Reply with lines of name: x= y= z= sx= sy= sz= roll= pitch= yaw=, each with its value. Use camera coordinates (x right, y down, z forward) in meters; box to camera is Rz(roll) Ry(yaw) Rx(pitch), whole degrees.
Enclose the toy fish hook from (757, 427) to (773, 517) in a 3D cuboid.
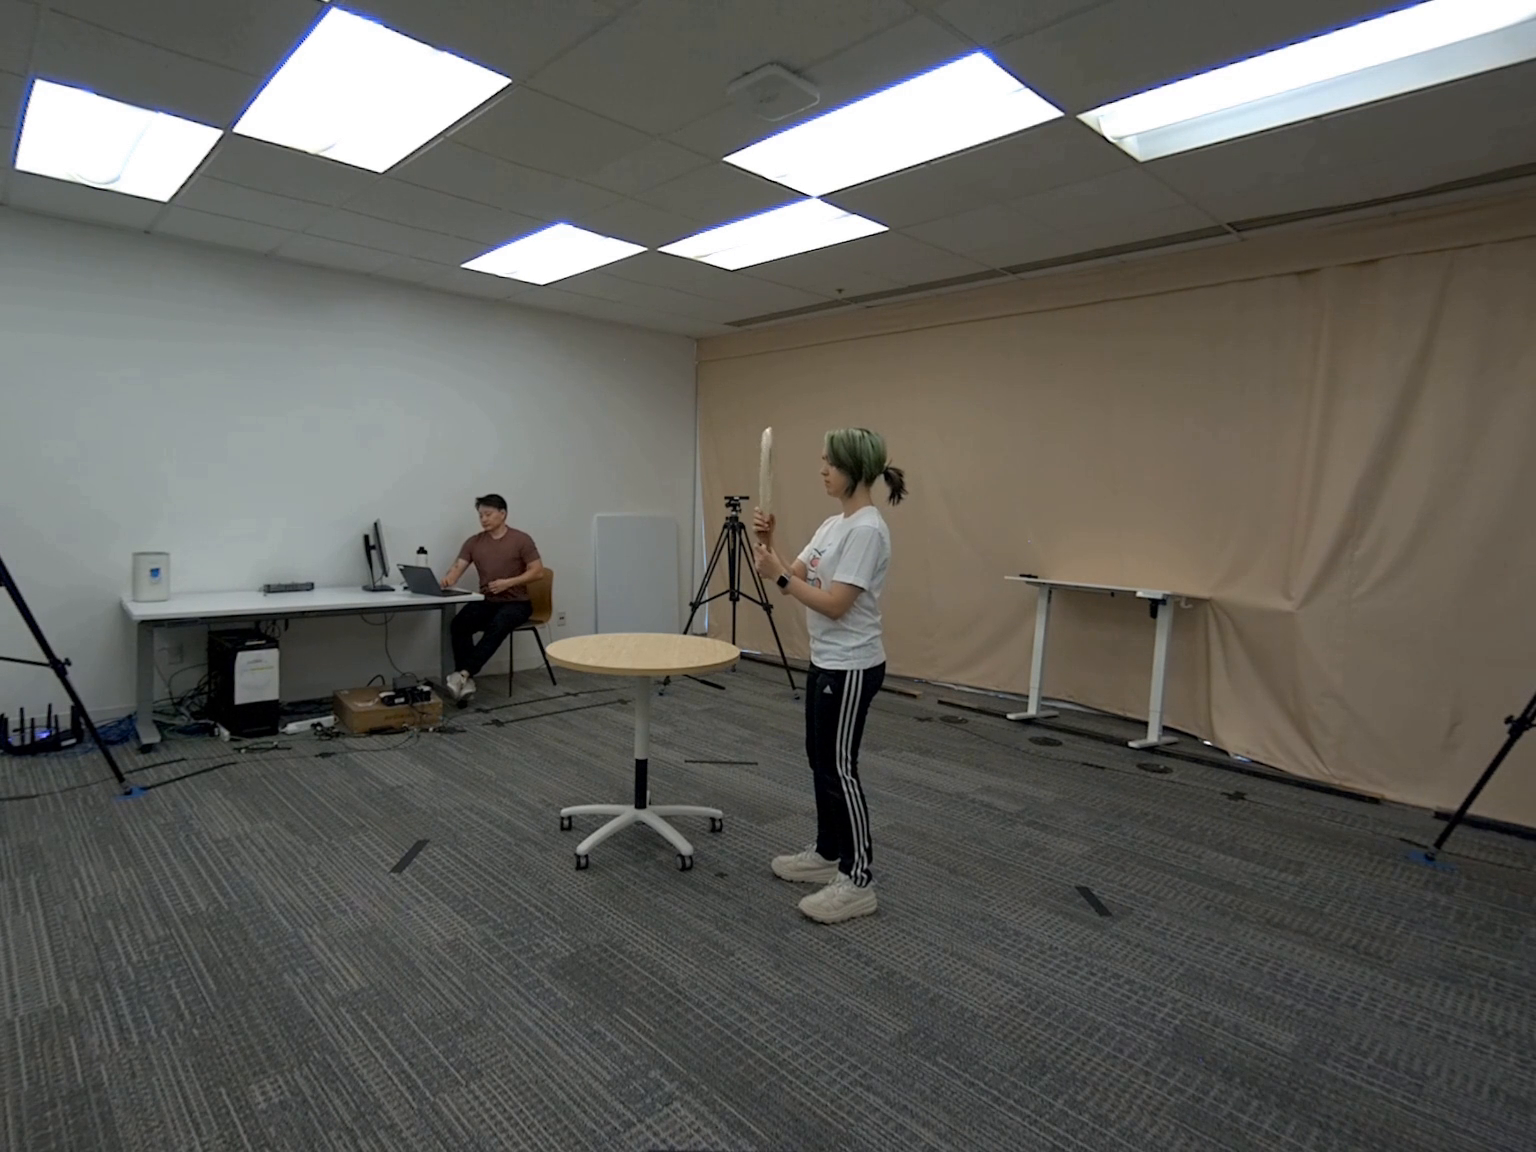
toy fish hook: x=0.009 y=-0.254 z=2.891 sx=0.049 sy=0.502 sz=0.223 roll=3 pitch=11 yaw=17
